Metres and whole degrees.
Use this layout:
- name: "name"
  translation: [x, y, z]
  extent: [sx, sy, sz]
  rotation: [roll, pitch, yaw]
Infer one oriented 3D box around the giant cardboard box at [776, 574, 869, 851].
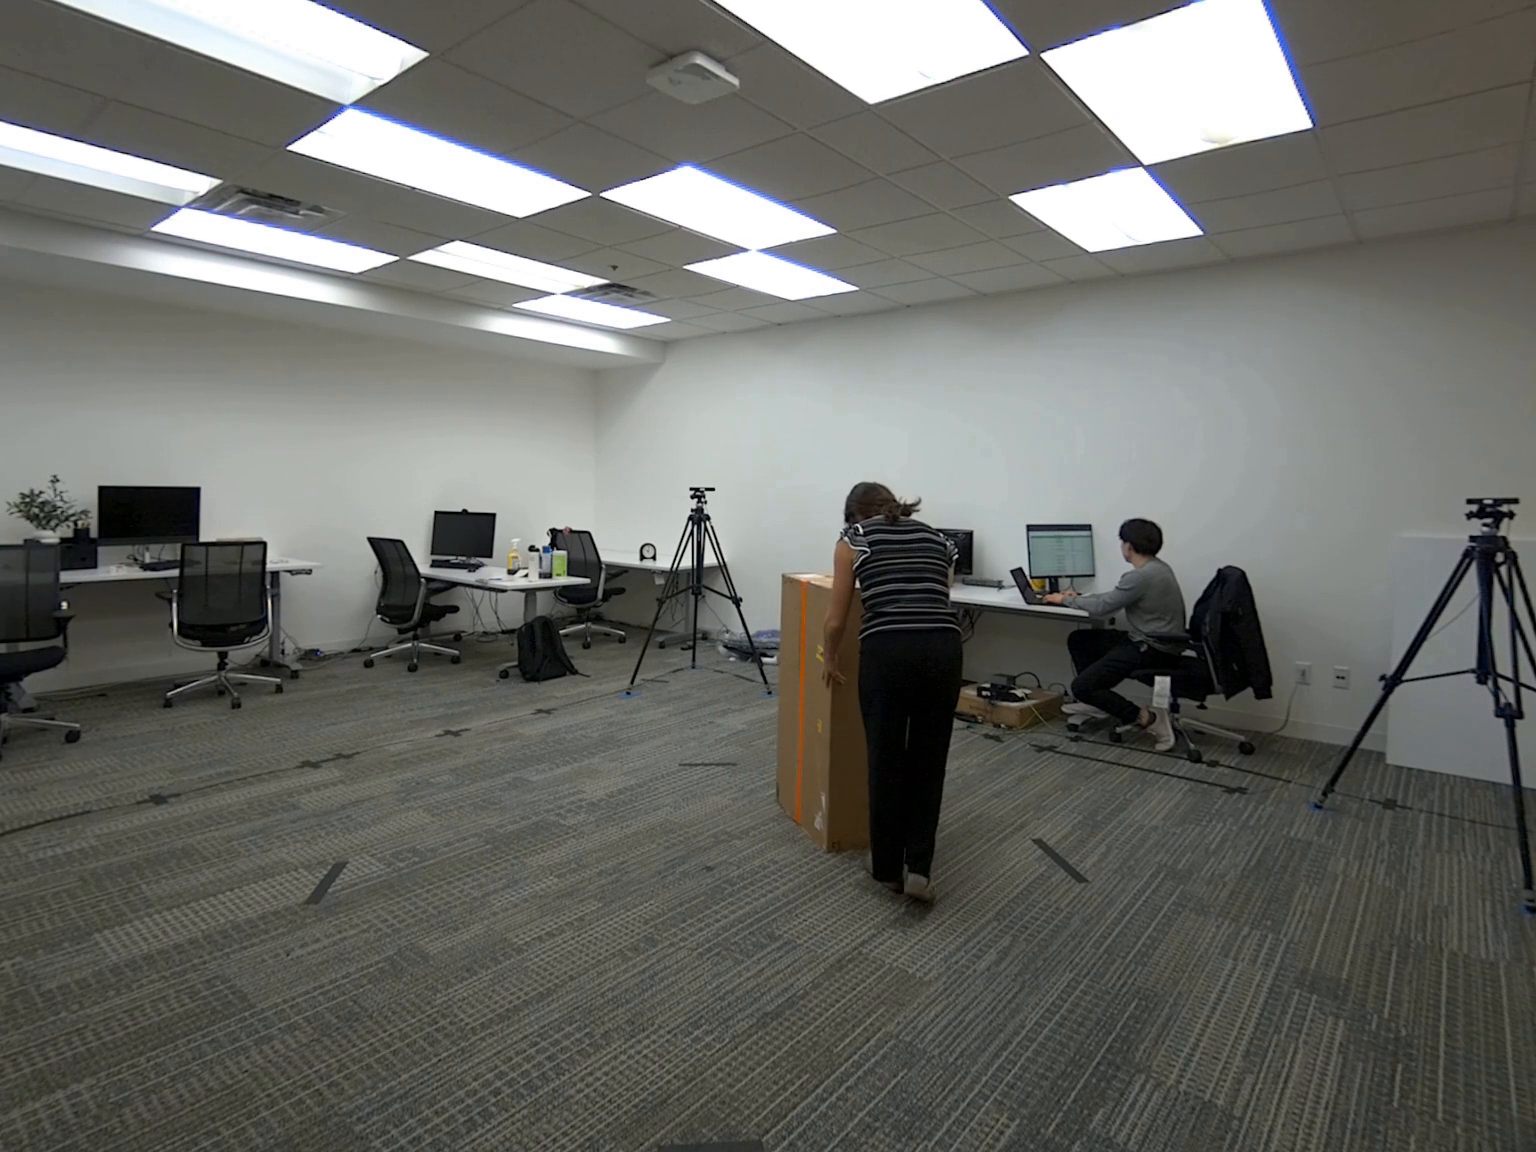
- name: "giant cardboard box"
  translation: [0.328, 0.524, 3.574]
  extent: [0.418, 1.023, 0.590]
  rotation: [0, 4, -19]
